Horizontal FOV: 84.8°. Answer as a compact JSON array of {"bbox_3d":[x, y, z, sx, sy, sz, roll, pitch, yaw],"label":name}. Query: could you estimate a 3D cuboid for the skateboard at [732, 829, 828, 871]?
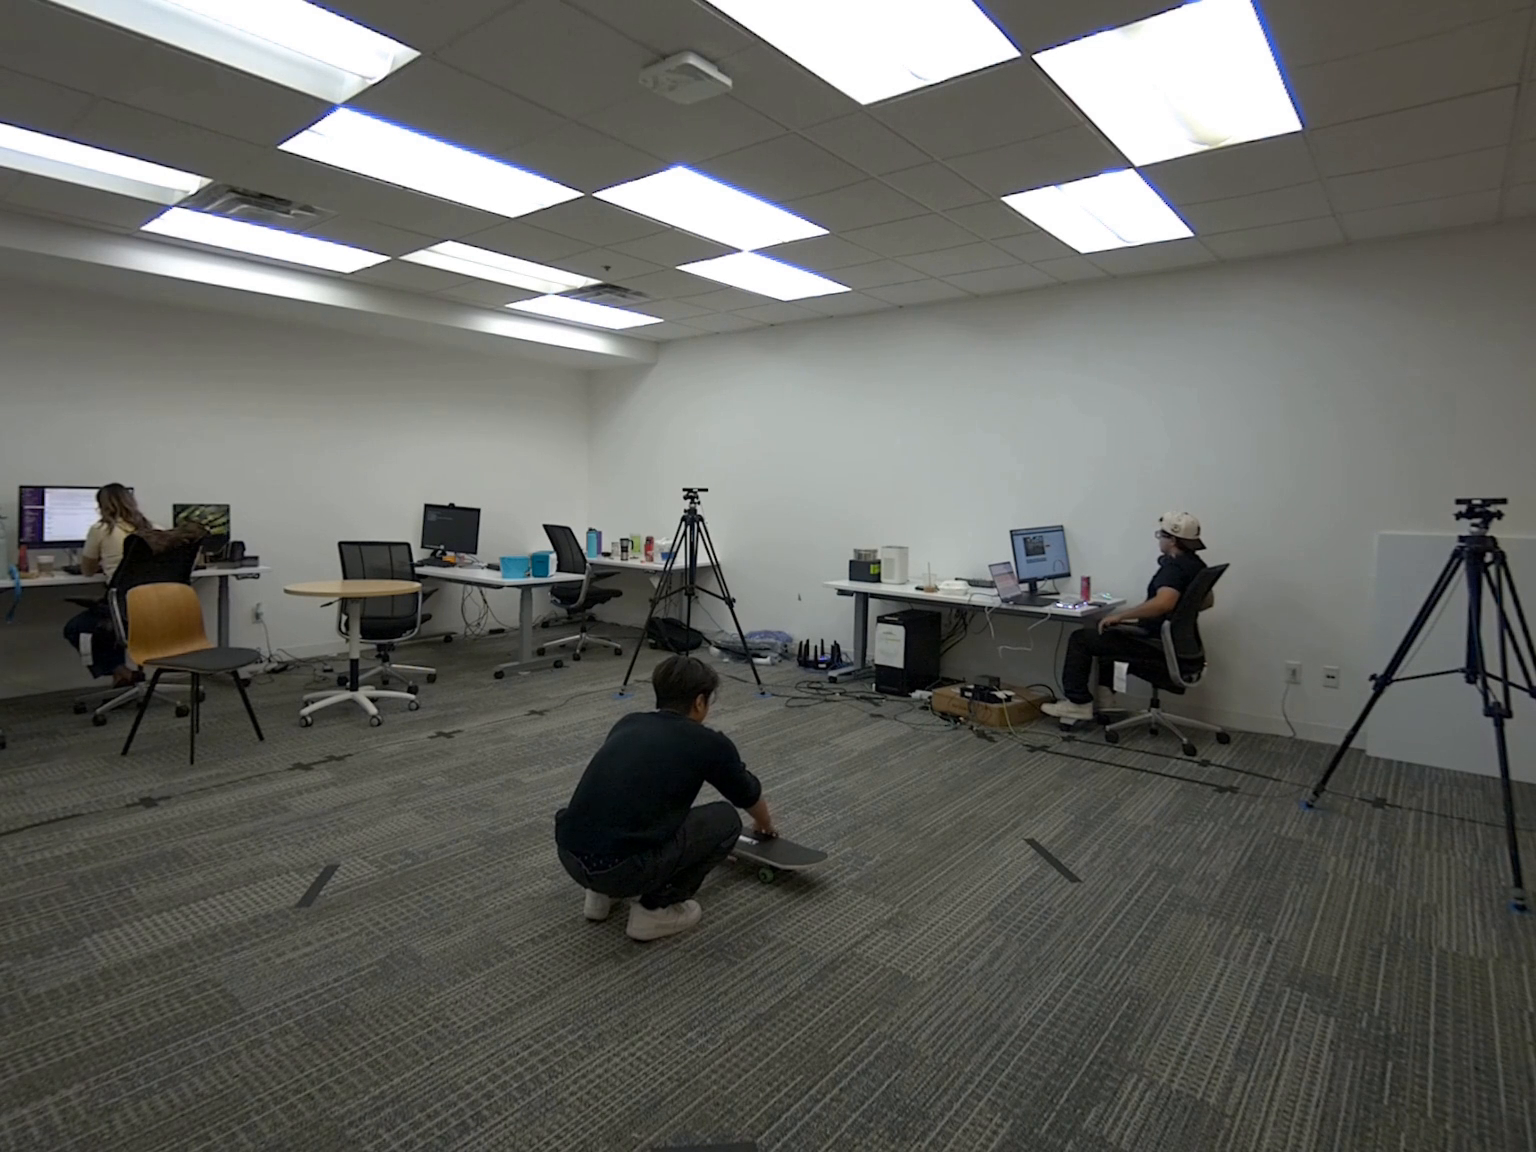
[{"bbox_3d":[-0.137,1.001,3.194,0.811,0.110,0.188,5,6,37],"label":"skateboard"}]
